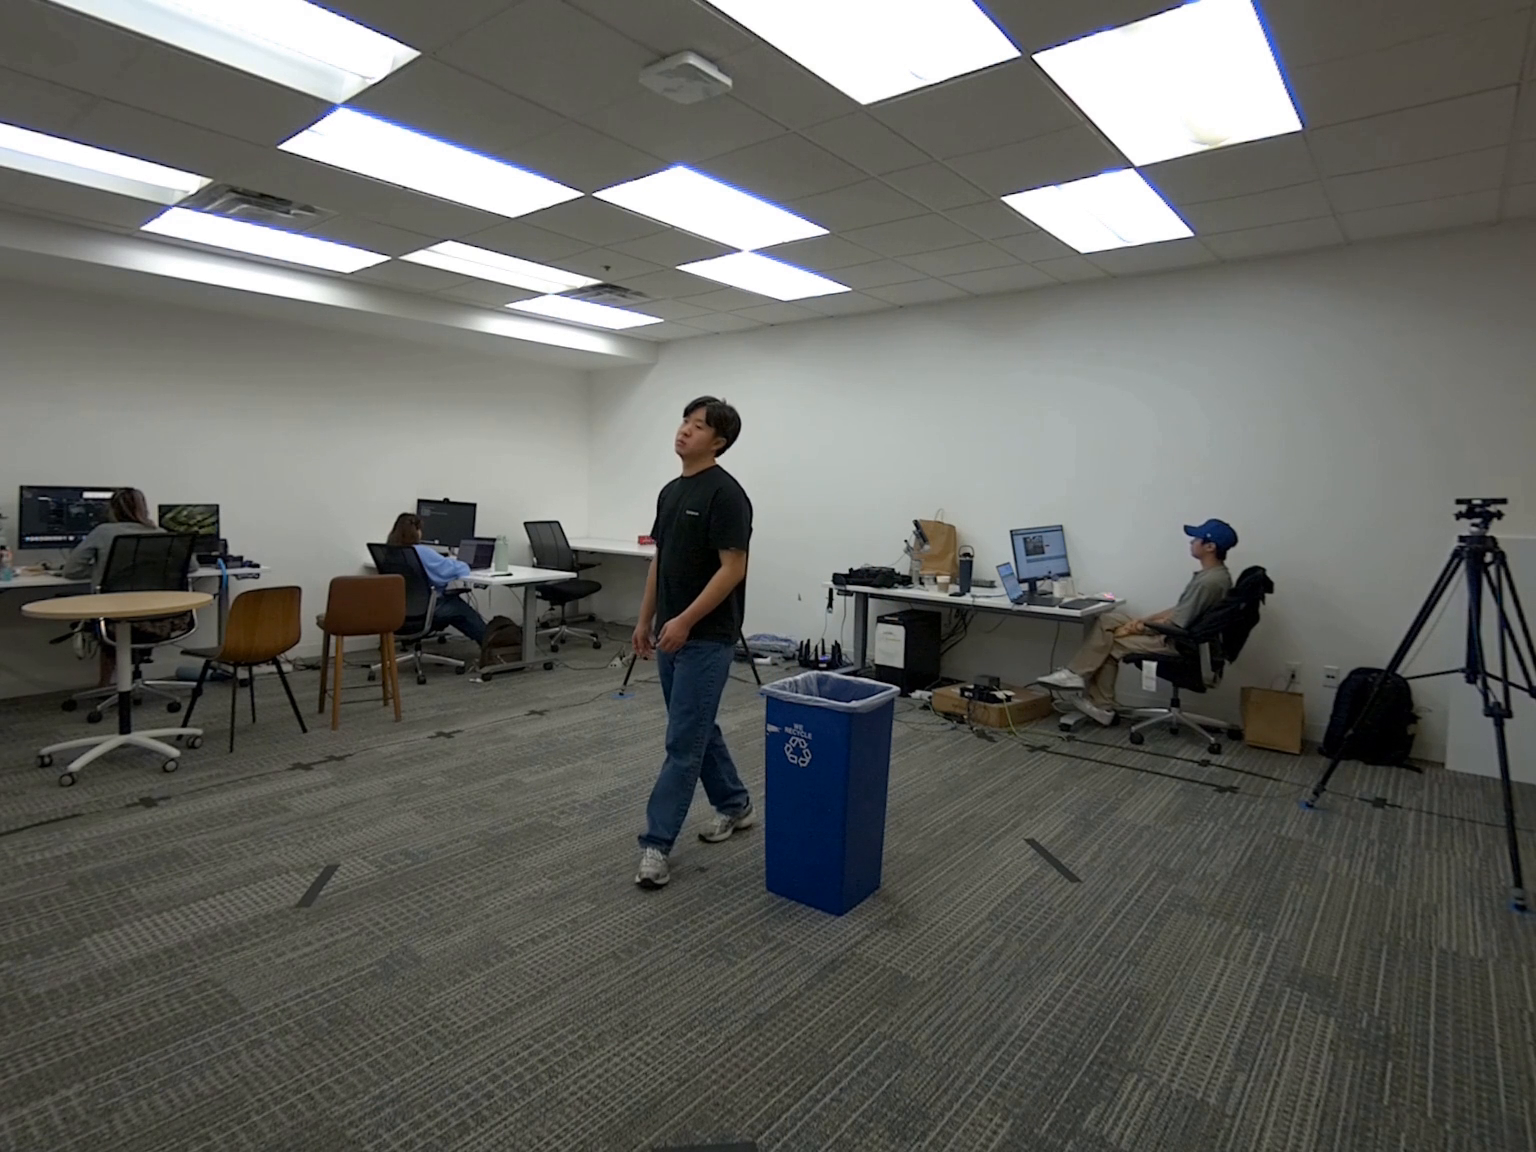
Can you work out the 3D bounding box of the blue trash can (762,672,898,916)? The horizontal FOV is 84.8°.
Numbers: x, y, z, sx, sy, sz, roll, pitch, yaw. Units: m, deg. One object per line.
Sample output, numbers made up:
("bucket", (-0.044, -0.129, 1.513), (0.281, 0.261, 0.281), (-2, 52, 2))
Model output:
("blue trash can", (0.207, 0.734, 2.966), (0.386, 0.711, 0.367), (4, 4, 35))
